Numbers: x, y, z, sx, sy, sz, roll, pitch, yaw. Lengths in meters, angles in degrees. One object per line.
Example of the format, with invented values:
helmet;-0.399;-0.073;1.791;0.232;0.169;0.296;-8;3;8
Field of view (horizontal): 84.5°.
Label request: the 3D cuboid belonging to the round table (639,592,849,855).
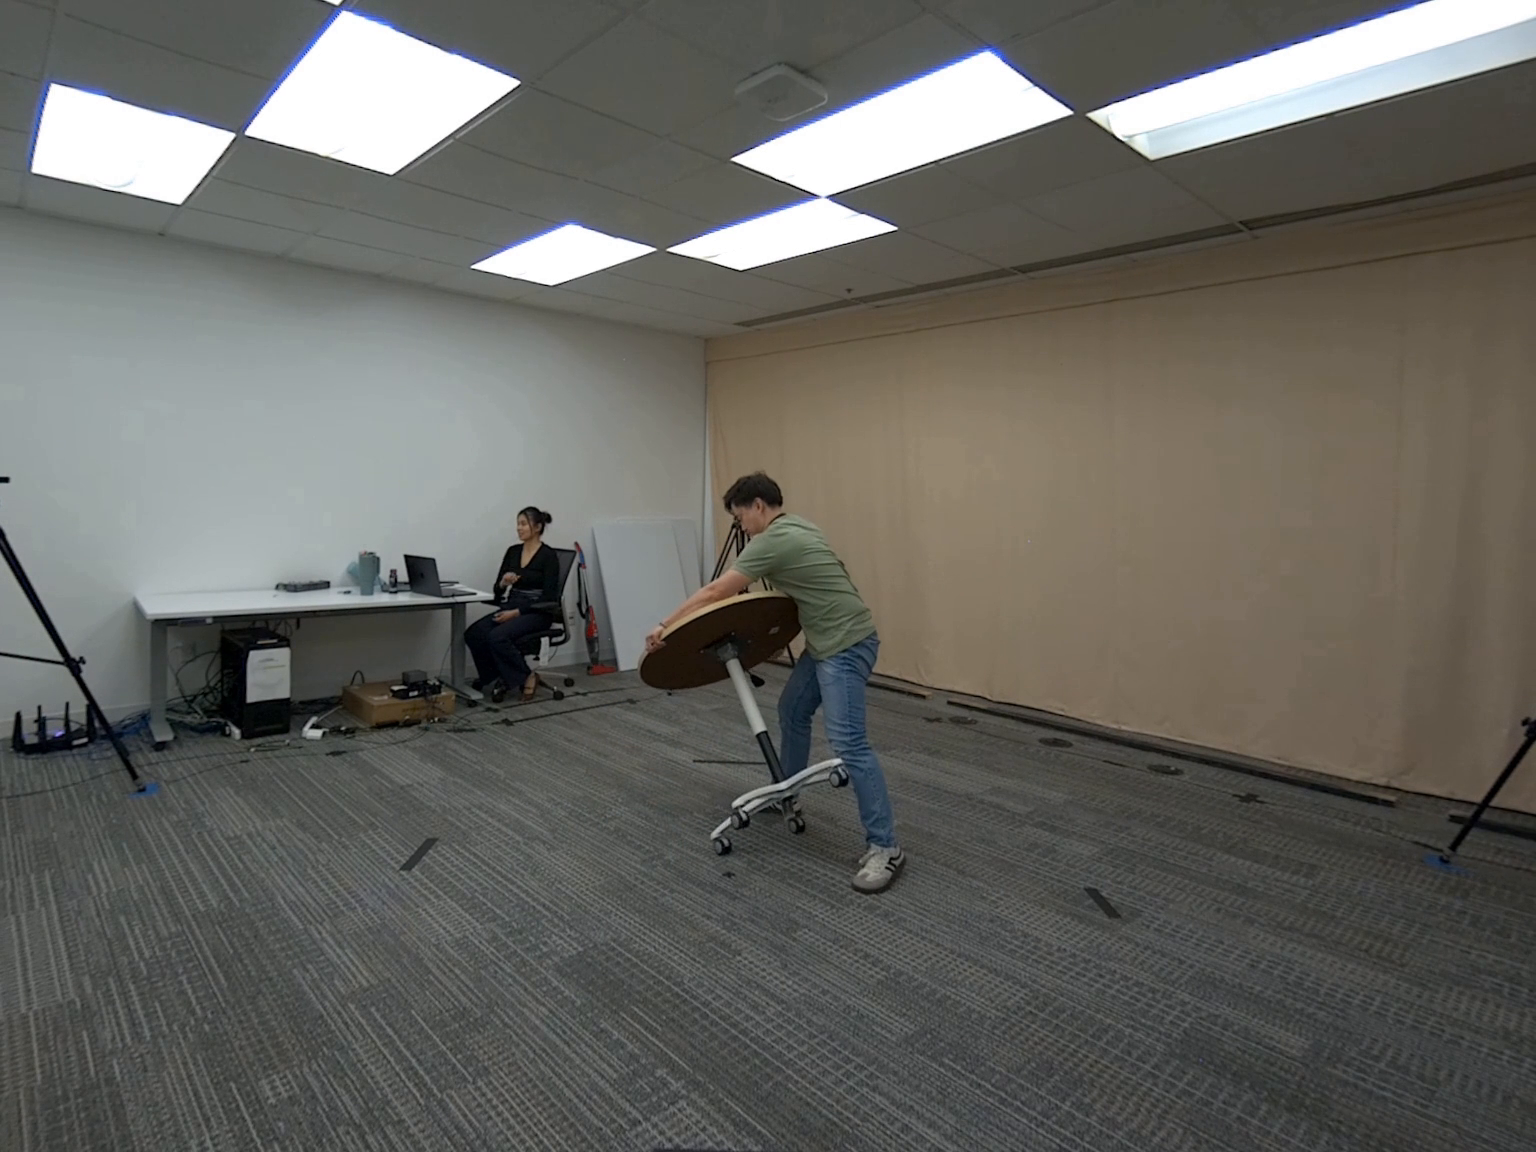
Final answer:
round table;-0.055;0.602;3.410;0.759;0.813;0.750;-19;-26;-11
